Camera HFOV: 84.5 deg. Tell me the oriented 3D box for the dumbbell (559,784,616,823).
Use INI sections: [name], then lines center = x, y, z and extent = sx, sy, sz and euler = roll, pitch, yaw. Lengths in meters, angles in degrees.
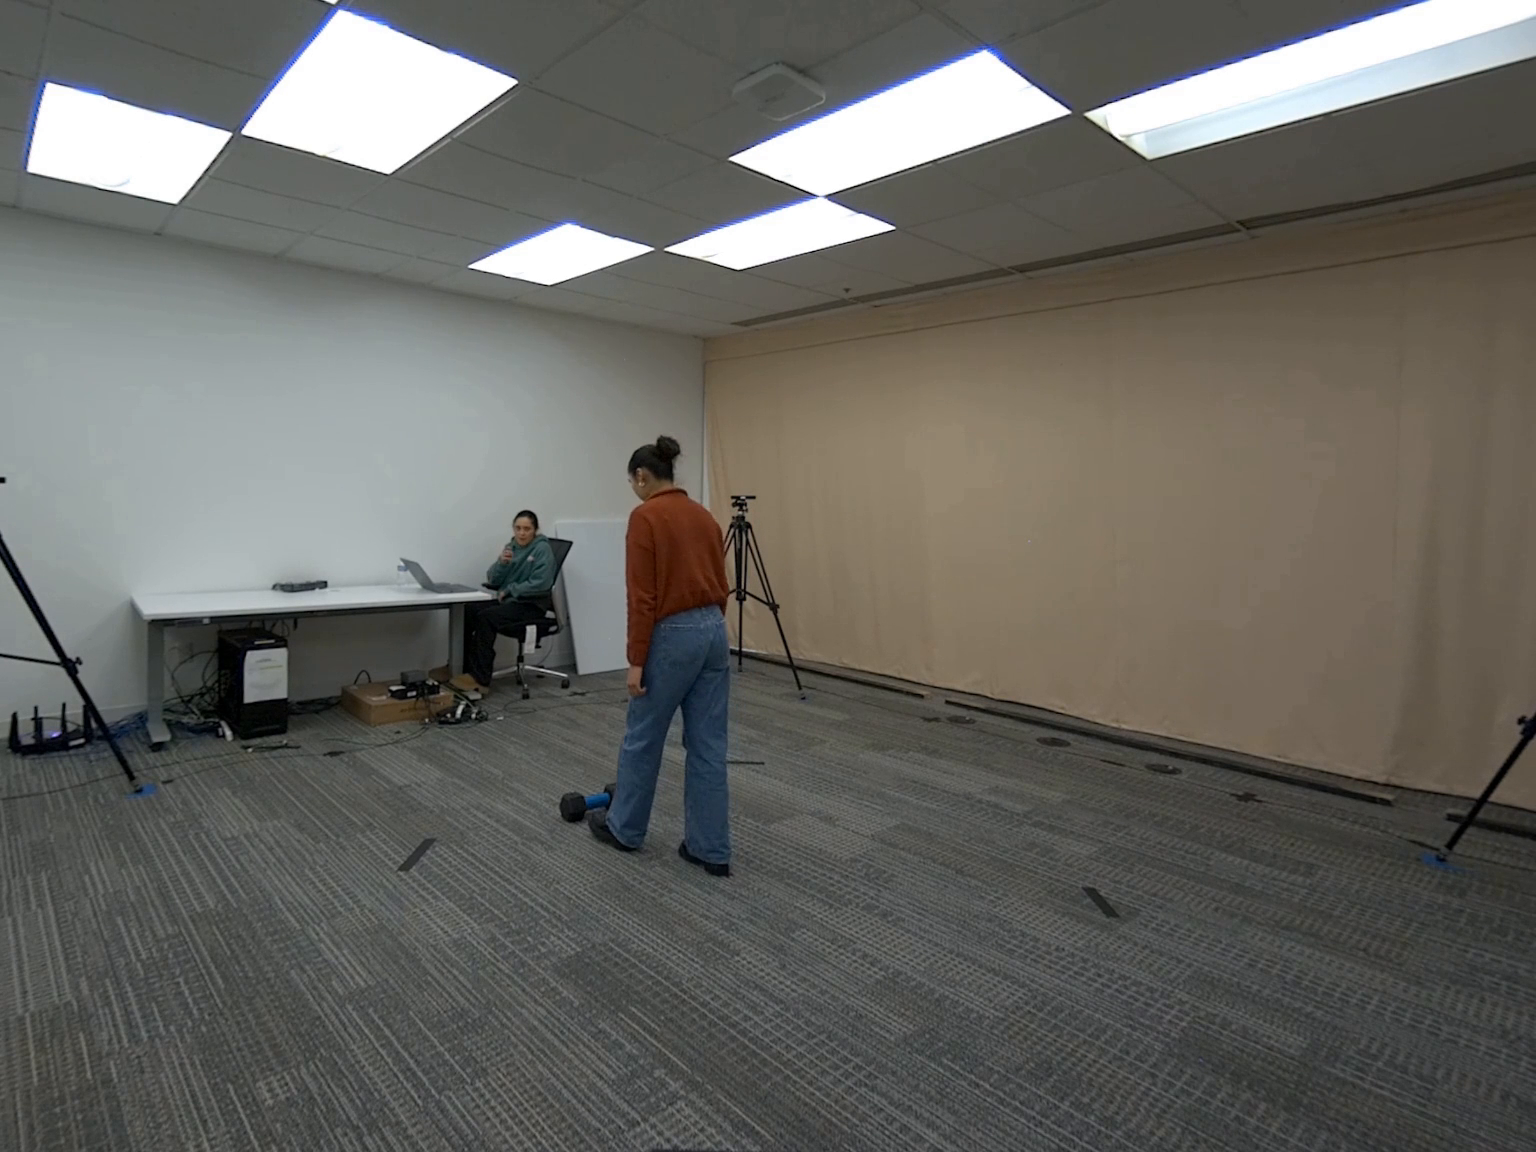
[dumbbell]
center = -0.764, 0.985, 3.666
extent = 0.287, 0.122, 0.112
euler = -3, 36, -40
